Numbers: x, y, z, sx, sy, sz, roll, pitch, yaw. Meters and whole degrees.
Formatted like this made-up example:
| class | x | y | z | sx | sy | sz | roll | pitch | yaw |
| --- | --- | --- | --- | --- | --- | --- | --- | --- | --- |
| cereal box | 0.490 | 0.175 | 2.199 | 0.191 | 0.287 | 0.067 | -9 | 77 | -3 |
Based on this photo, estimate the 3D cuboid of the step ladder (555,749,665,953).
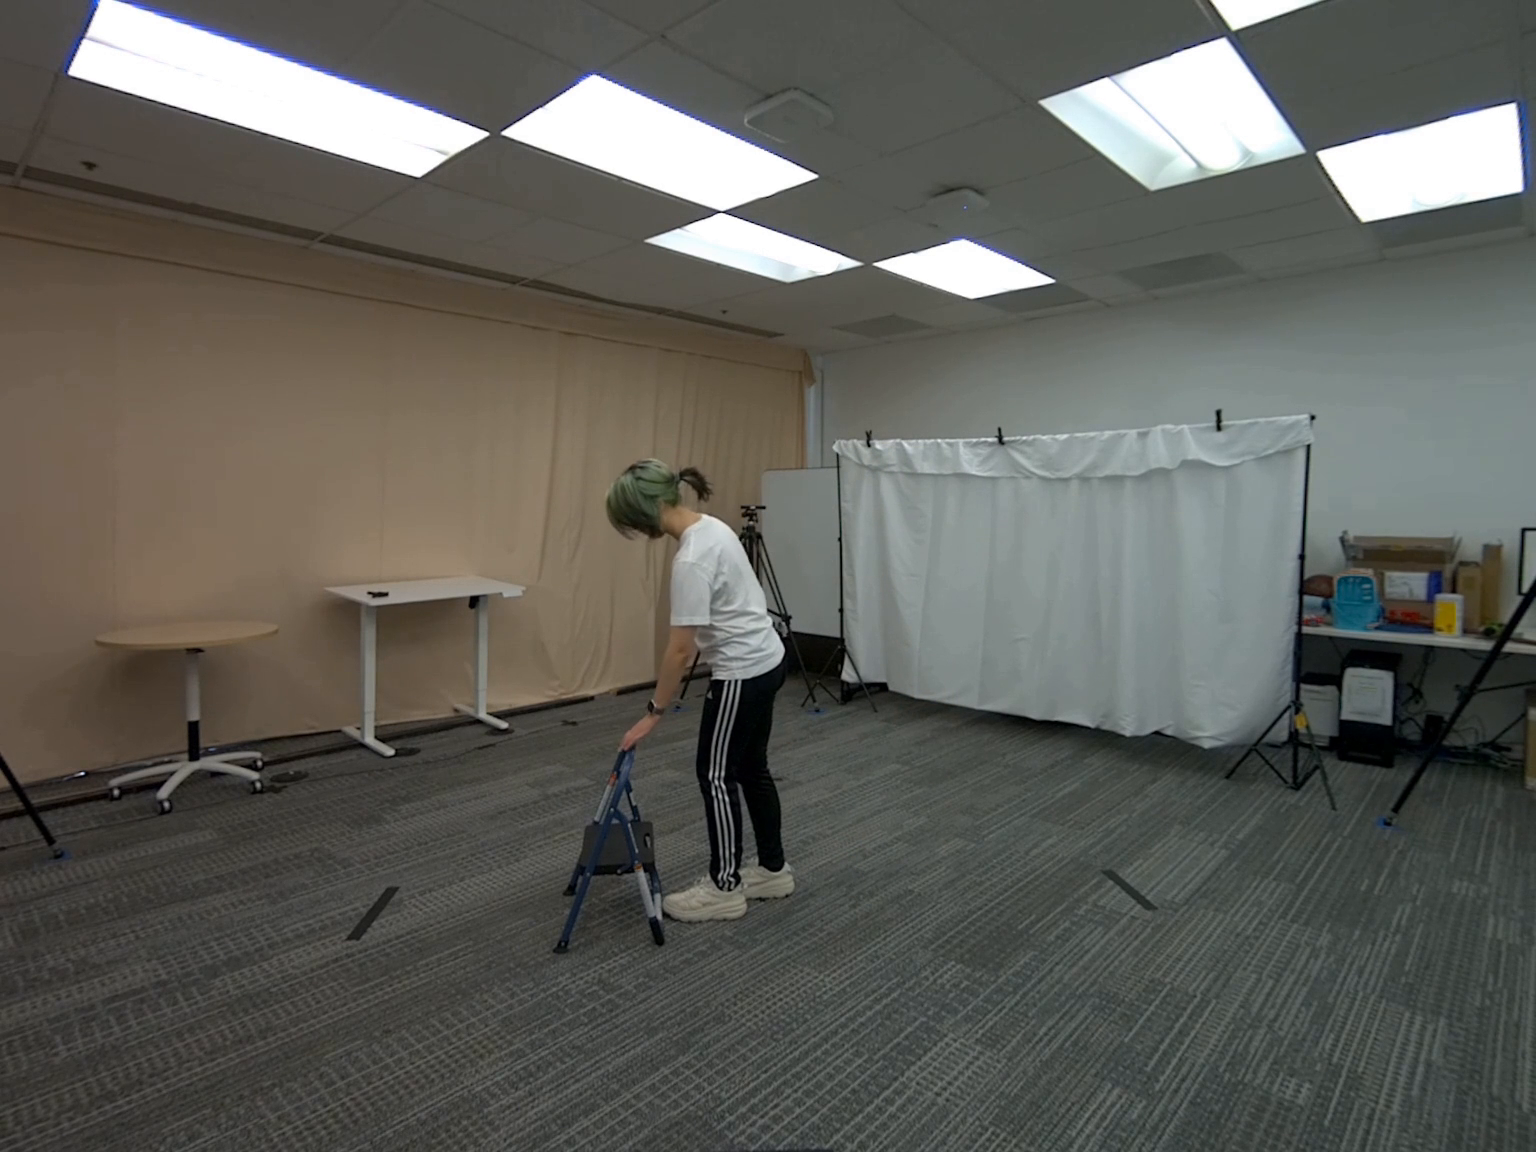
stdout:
| class | x | y | z | sx | sy | sz | roll | pitch | yaw |
| --- | --- | --- | --- | --- | --- | --- | --- | --- | --- |
| step ladder | -0.530 | 0.861 | 2.838 | 0.346 | 0.605 | 0.435 | -1 | 3 | -9 |
